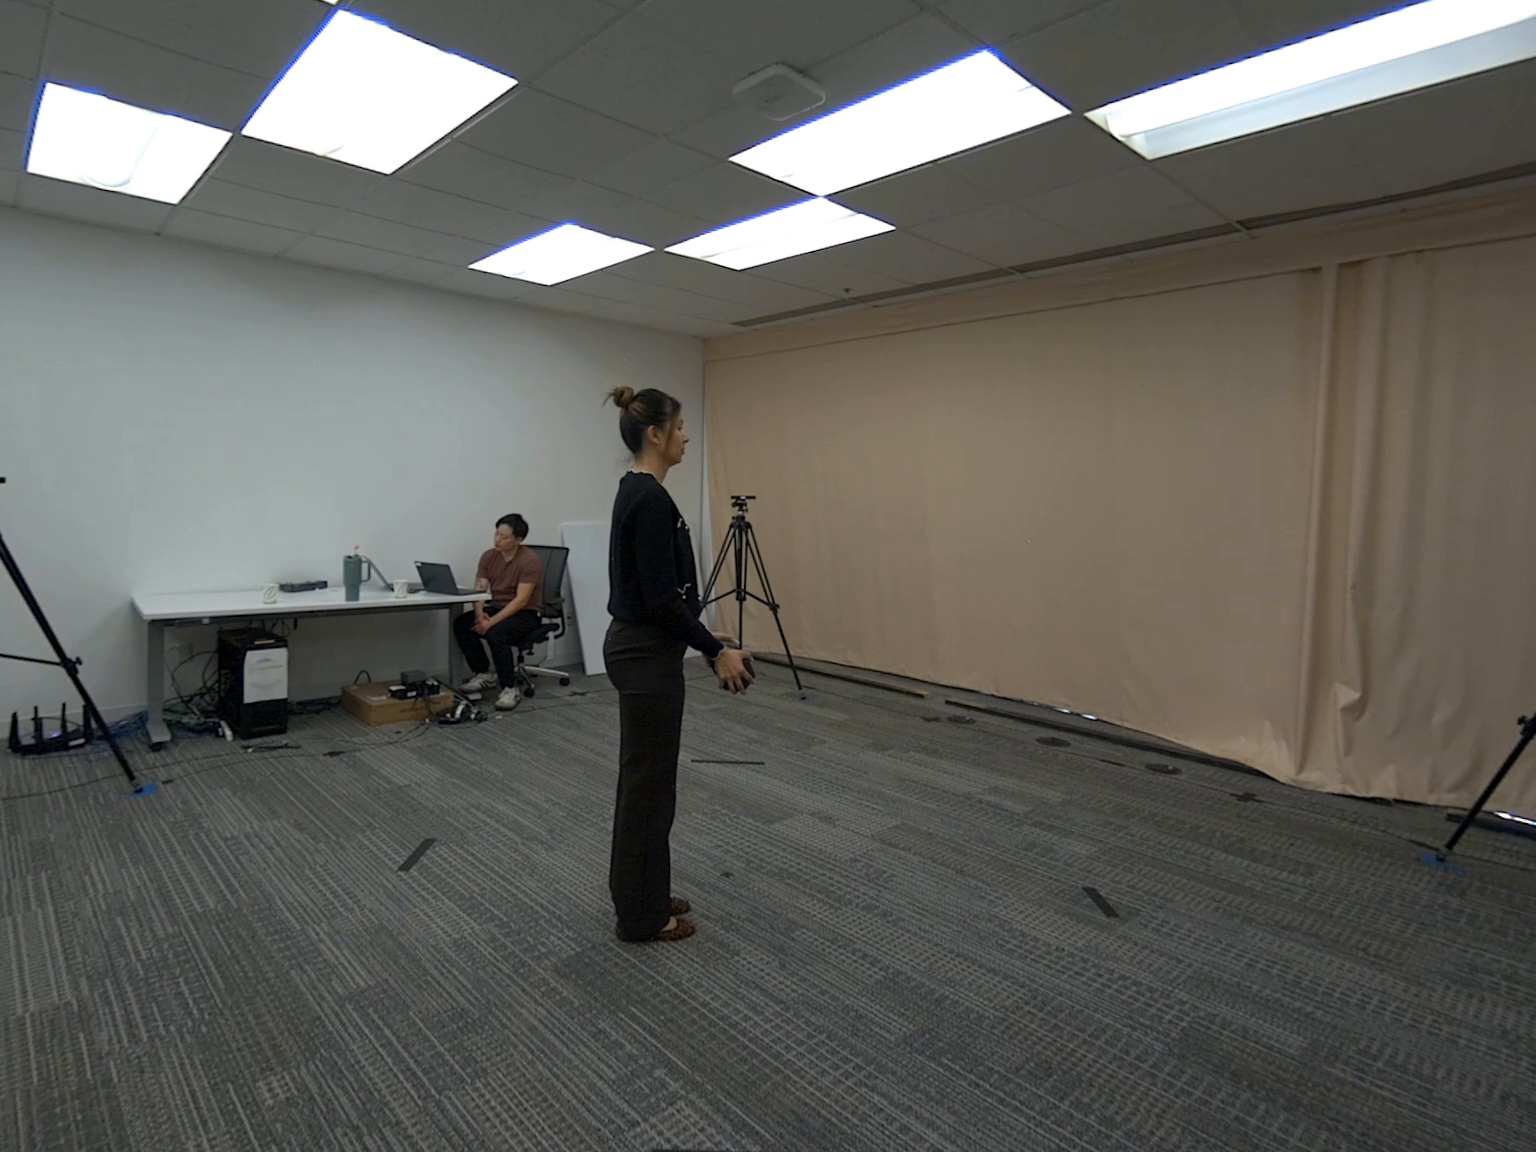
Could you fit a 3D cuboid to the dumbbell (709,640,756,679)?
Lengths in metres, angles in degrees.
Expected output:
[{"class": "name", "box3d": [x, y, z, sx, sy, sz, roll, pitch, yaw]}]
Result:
[{"class": "dumbbell", "box3d": [-0.119, 0.278, 2.702, 0.109, 0.122, 0.294, -17, 4, 1]}]
